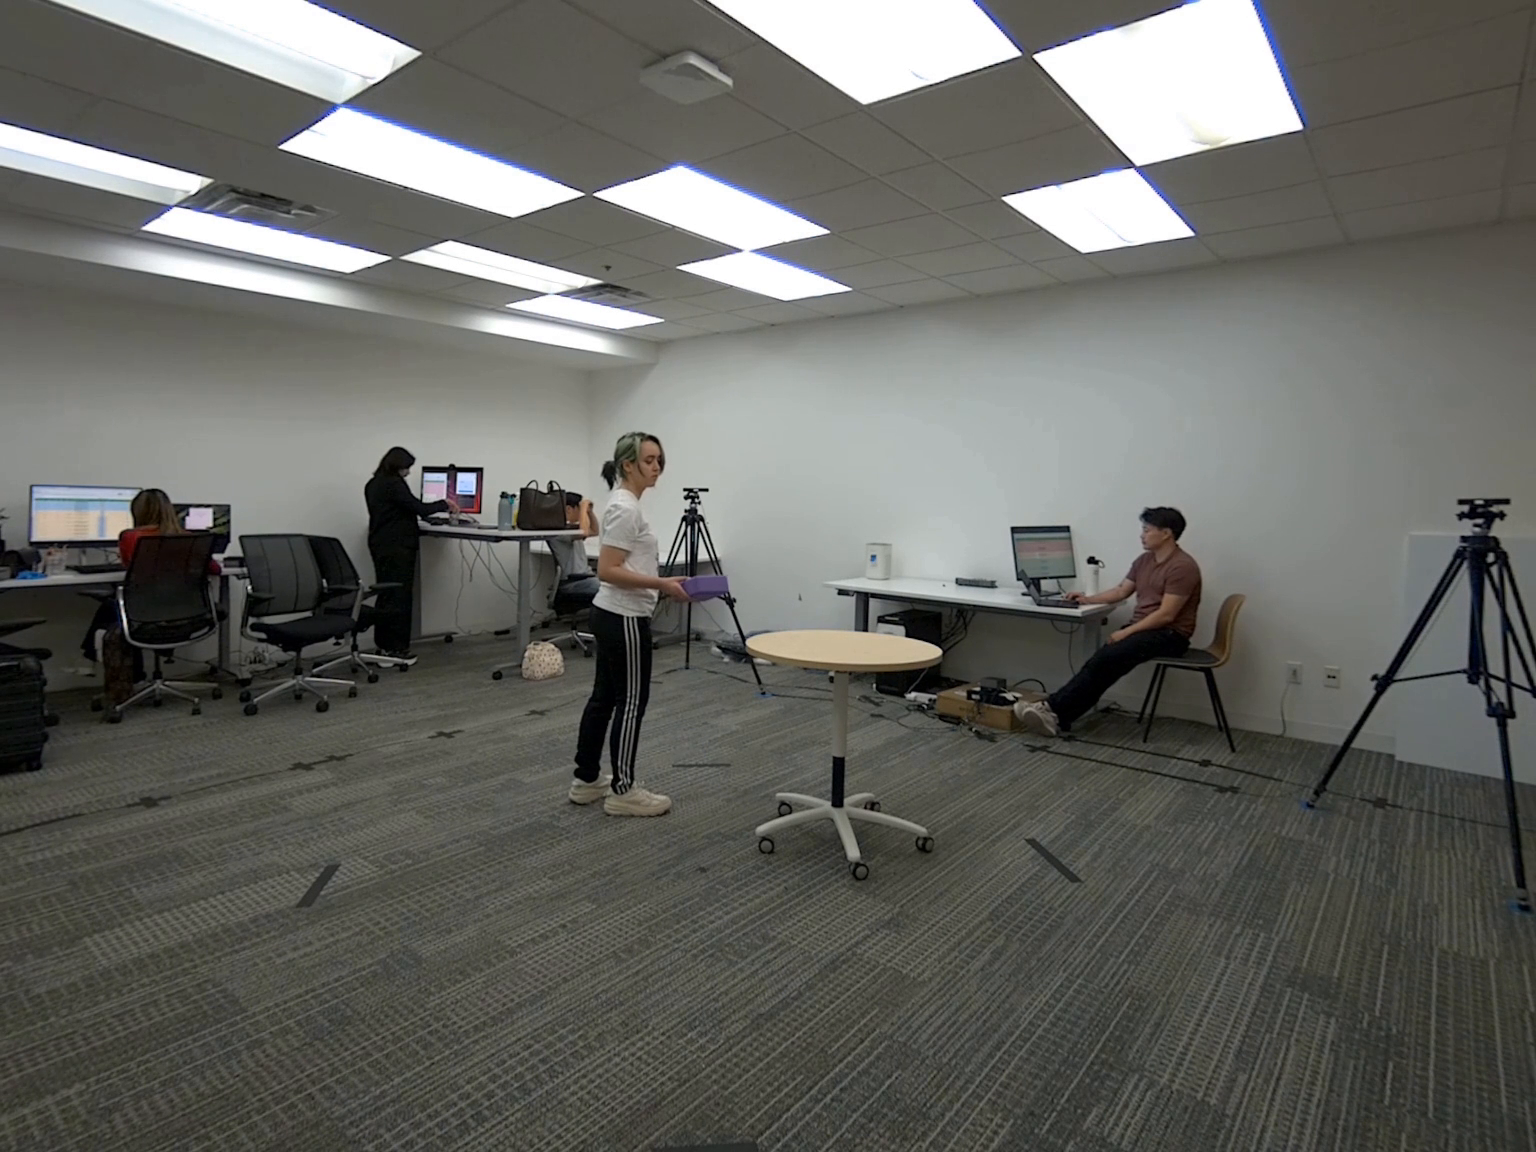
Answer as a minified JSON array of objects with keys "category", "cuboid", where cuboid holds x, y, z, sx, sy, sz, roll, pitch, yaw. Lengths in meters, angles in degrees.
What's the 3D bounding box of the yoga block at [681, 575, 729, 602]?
[{"category":"yoga block","cuboid":[-0.293,0.047,3.532,0.146,0.077,0.232,-5,-4,-20]}]
